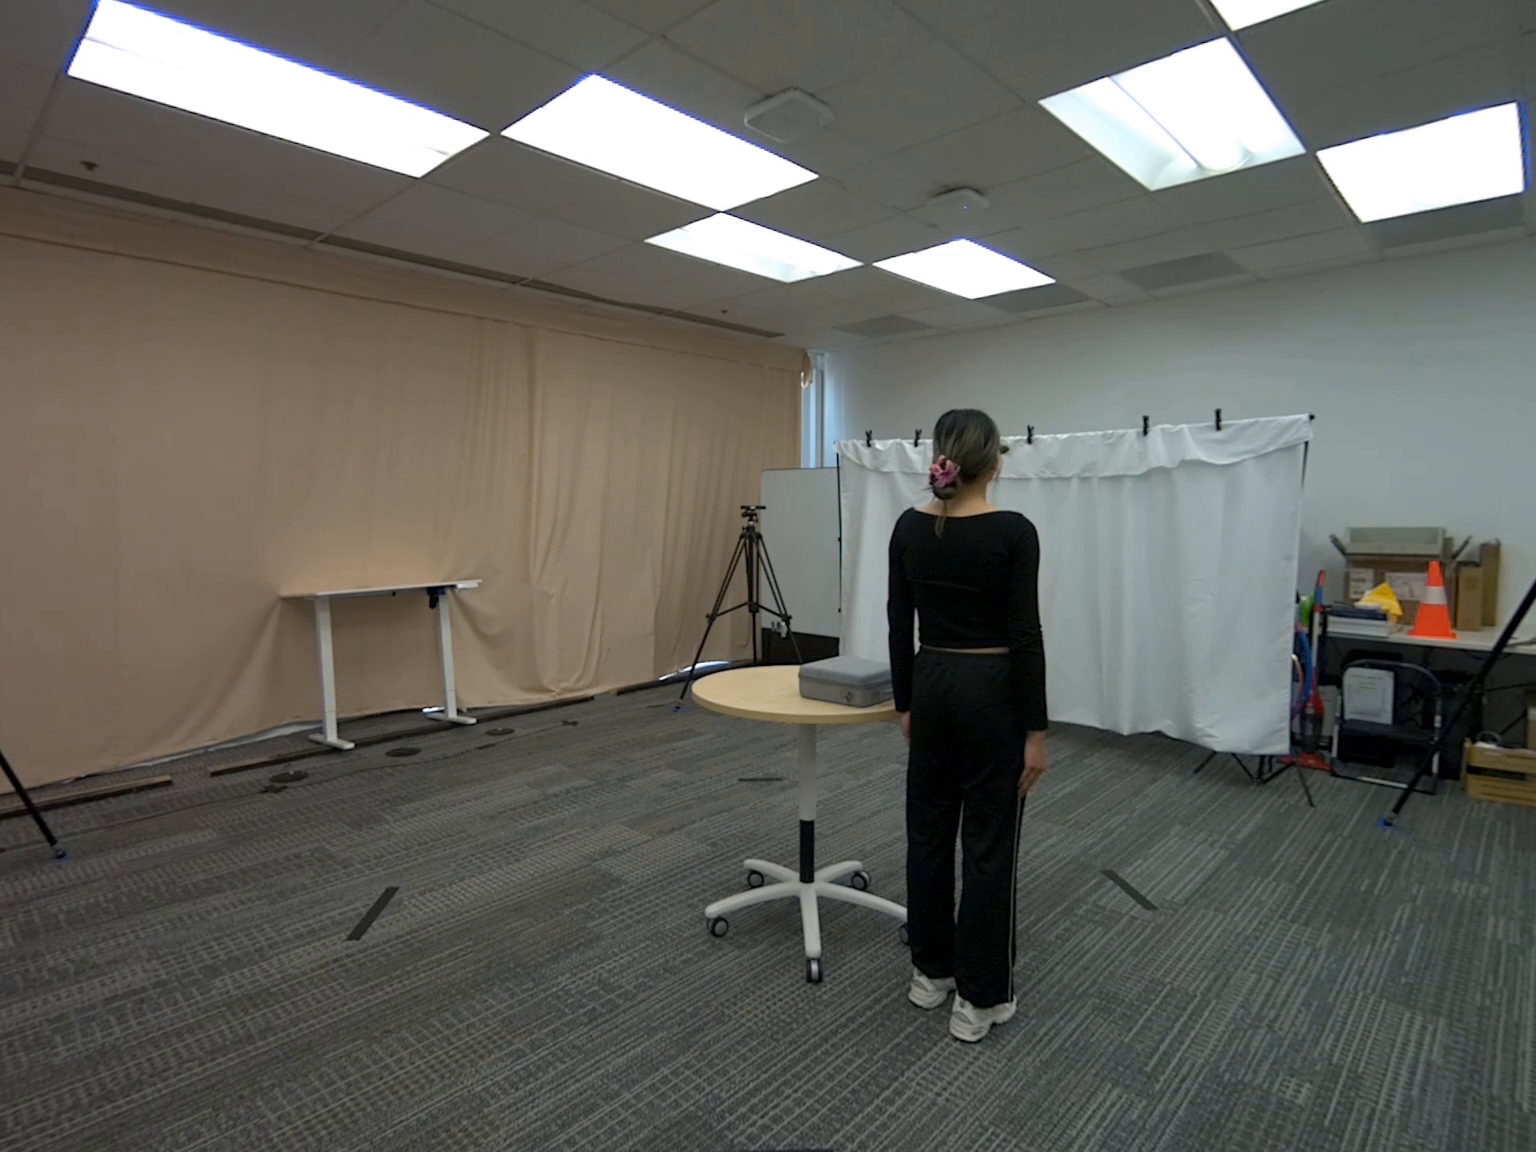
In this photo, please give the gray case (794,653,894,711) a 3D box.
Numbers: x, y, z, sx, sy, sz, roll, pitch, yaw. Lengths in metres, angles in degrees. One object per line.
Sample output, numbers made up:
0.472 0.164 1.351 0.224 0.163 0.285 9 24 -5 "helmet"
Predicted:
0.264 0.321 2.631 0.269 0.104 0.249 5 5 41 "gray case"
